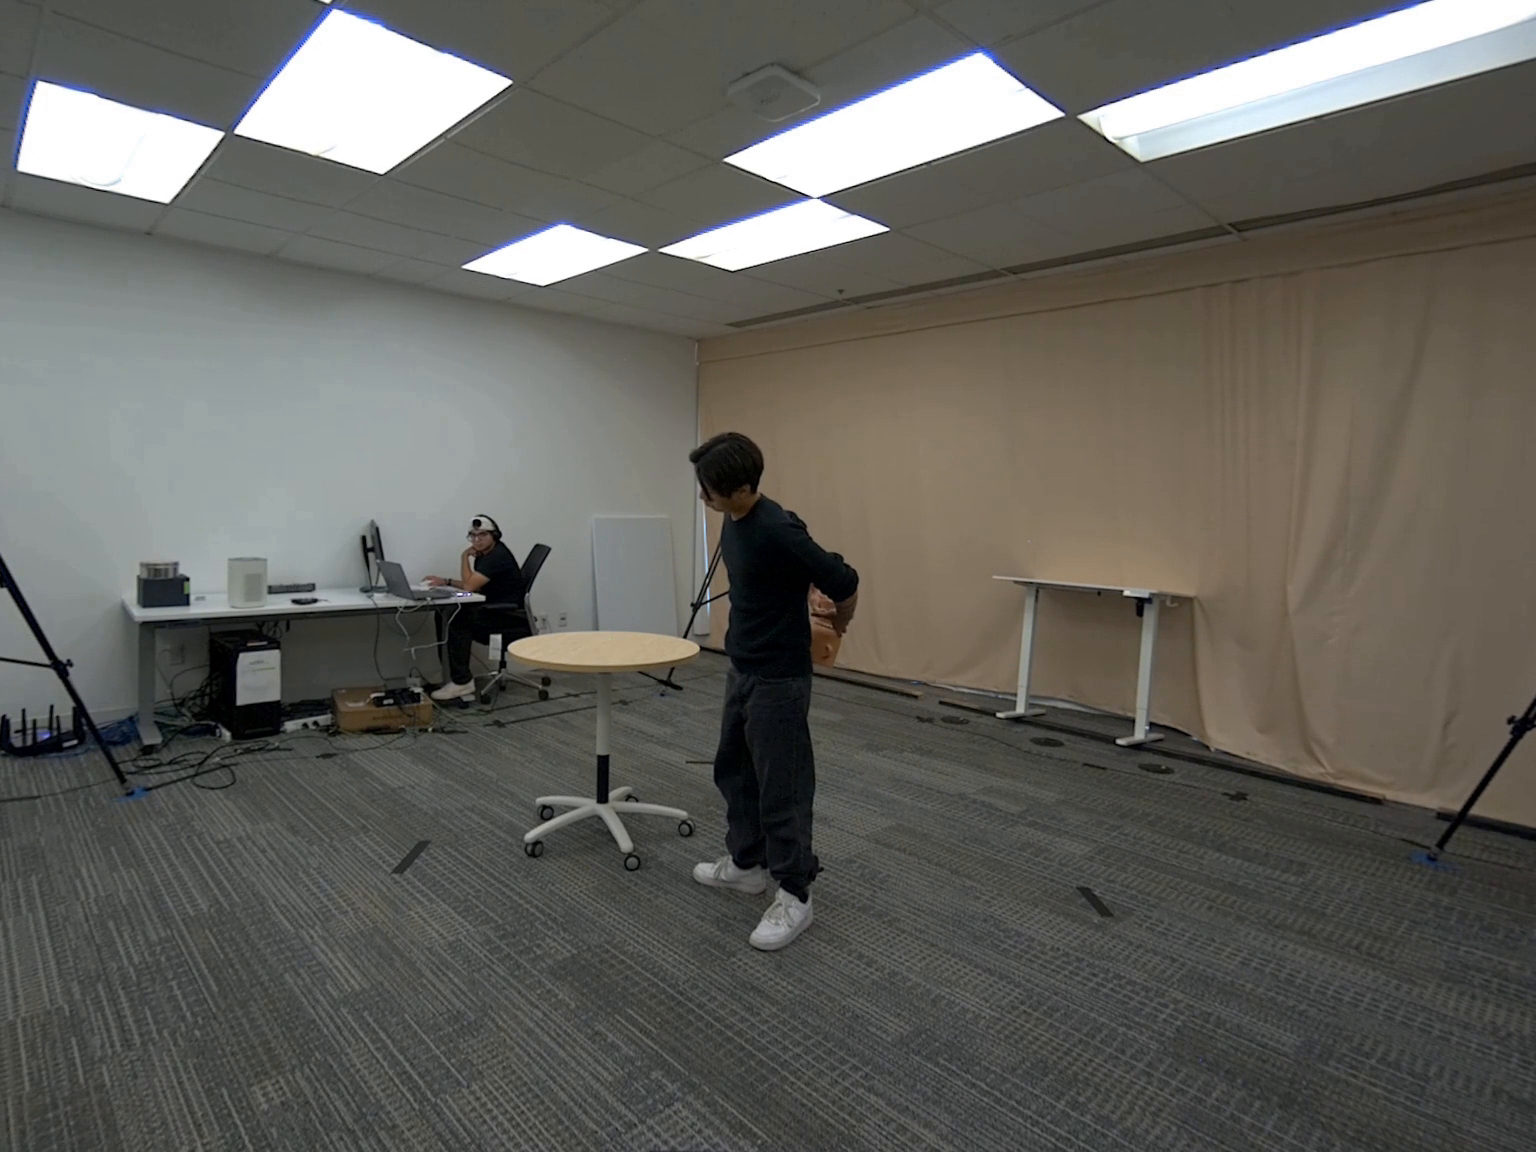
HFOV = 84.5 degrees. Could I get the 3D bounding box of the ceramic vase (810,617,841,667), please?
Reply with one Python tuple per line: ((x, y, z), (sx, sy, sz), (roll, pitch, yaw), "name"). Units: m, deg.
((0.182, 0.194, 2.997), (0.163, 0.219, 0.131), (14, 3, 31), "ceramic vase")
